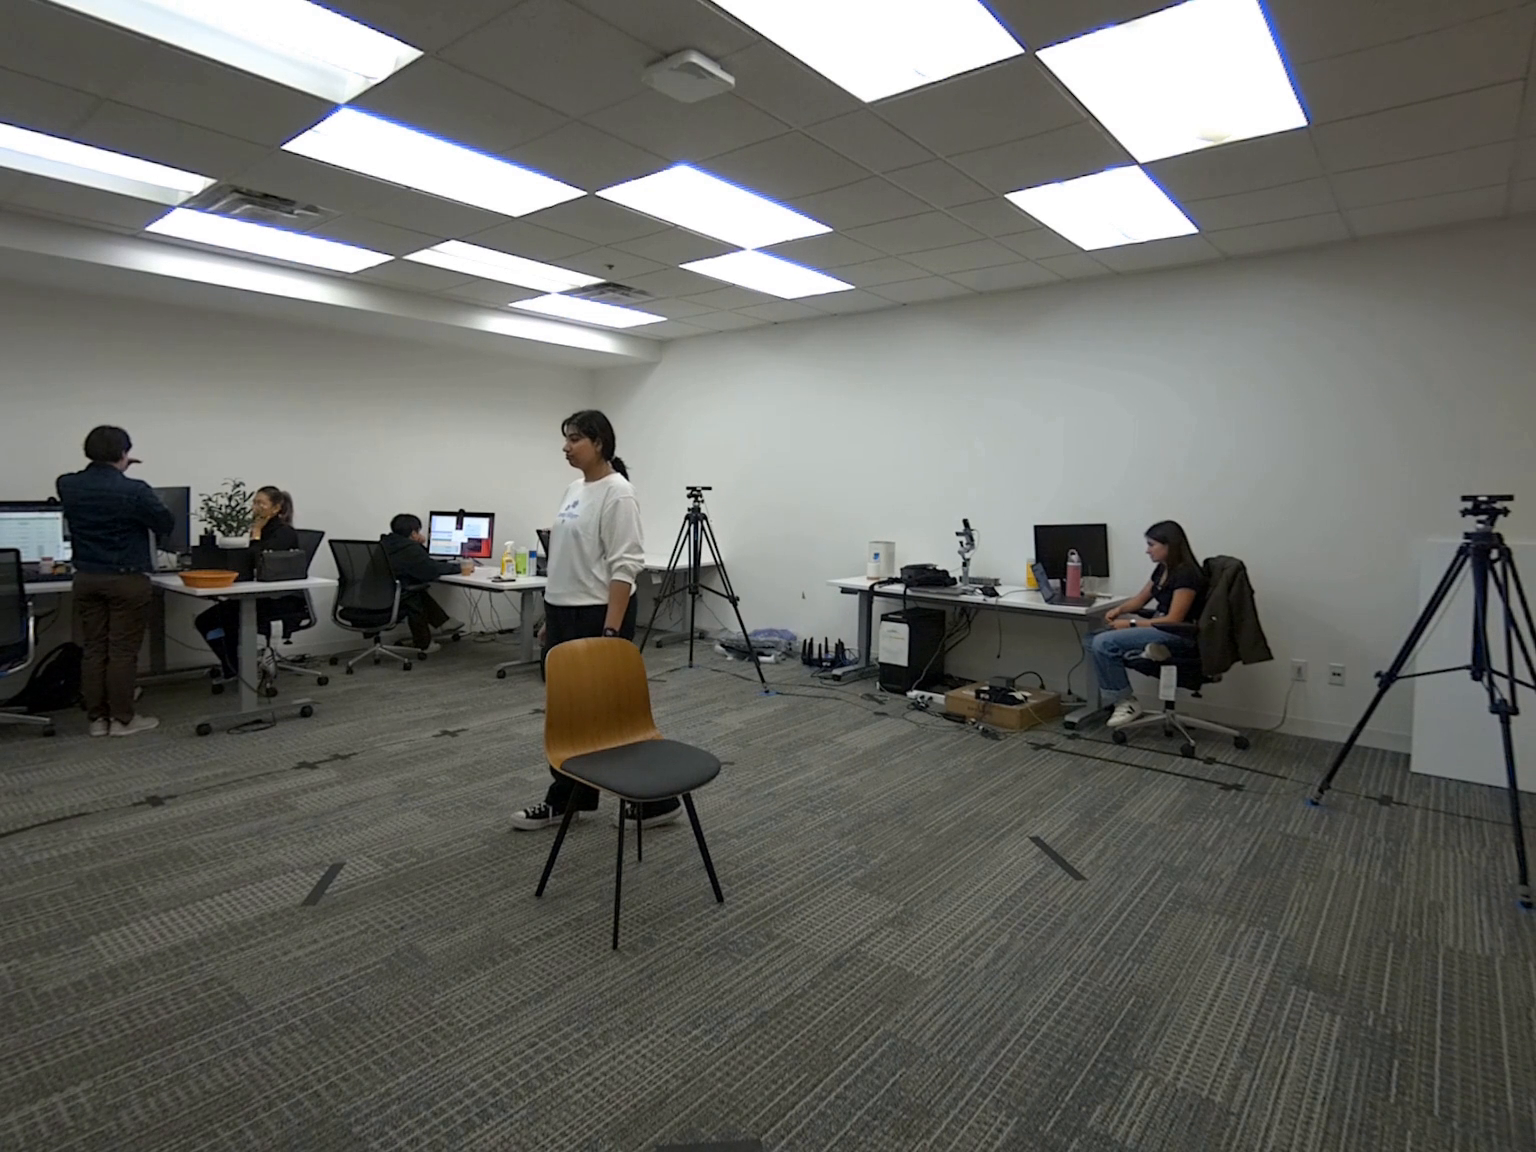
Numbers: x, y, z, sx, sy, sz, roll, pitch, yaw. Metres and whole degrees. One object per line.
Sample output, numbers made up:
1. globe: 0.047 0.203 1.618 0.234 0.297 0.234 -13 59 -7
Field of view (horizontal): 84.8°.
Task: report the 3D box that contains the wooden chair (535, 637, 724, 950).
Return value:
1. wooden chair: -0.450 0.661 2.827 0.463 0.878 0.539 -2 0 -45
